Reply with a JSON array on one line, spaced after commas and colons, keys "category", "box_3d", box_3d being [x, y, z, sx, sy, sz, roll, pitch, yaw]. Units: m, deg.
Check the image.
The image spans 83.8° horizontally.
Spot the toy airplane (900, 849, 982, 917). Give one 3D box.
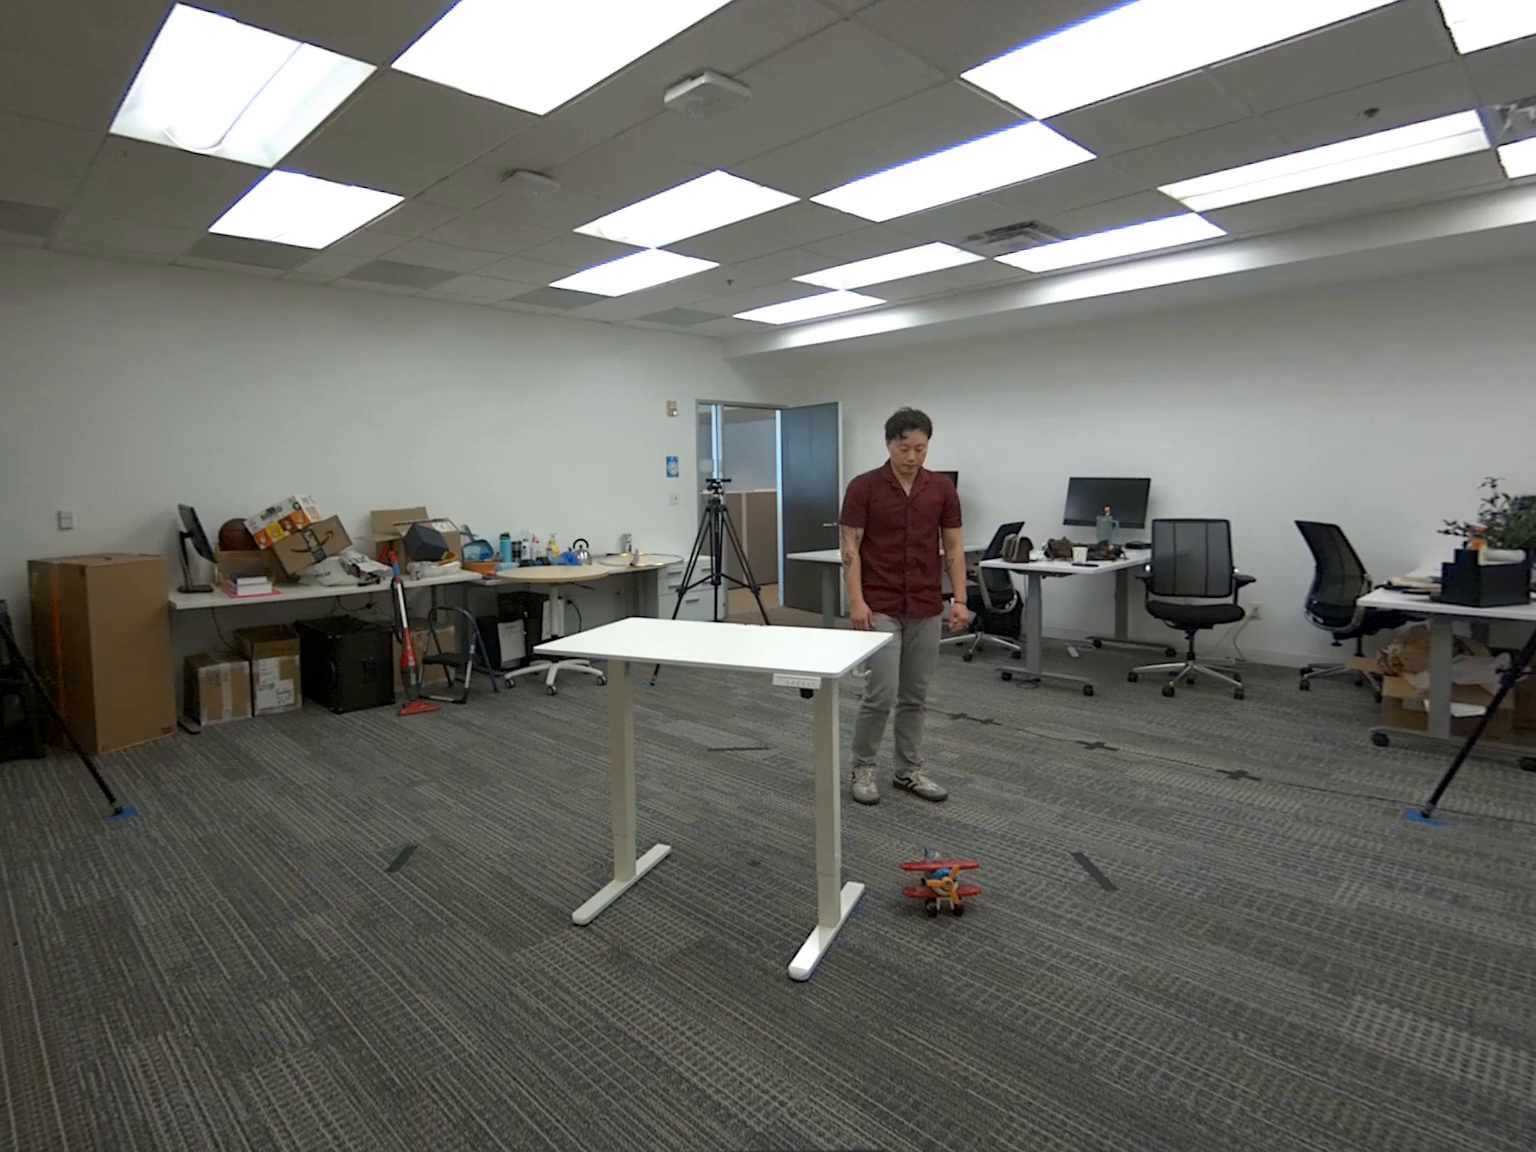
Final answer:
[{"category": "toy airplane", "box_3d": [0.543, 0.997, 2.791, 0.245, 0.155, 0.267, -5, 8, -30]}]
